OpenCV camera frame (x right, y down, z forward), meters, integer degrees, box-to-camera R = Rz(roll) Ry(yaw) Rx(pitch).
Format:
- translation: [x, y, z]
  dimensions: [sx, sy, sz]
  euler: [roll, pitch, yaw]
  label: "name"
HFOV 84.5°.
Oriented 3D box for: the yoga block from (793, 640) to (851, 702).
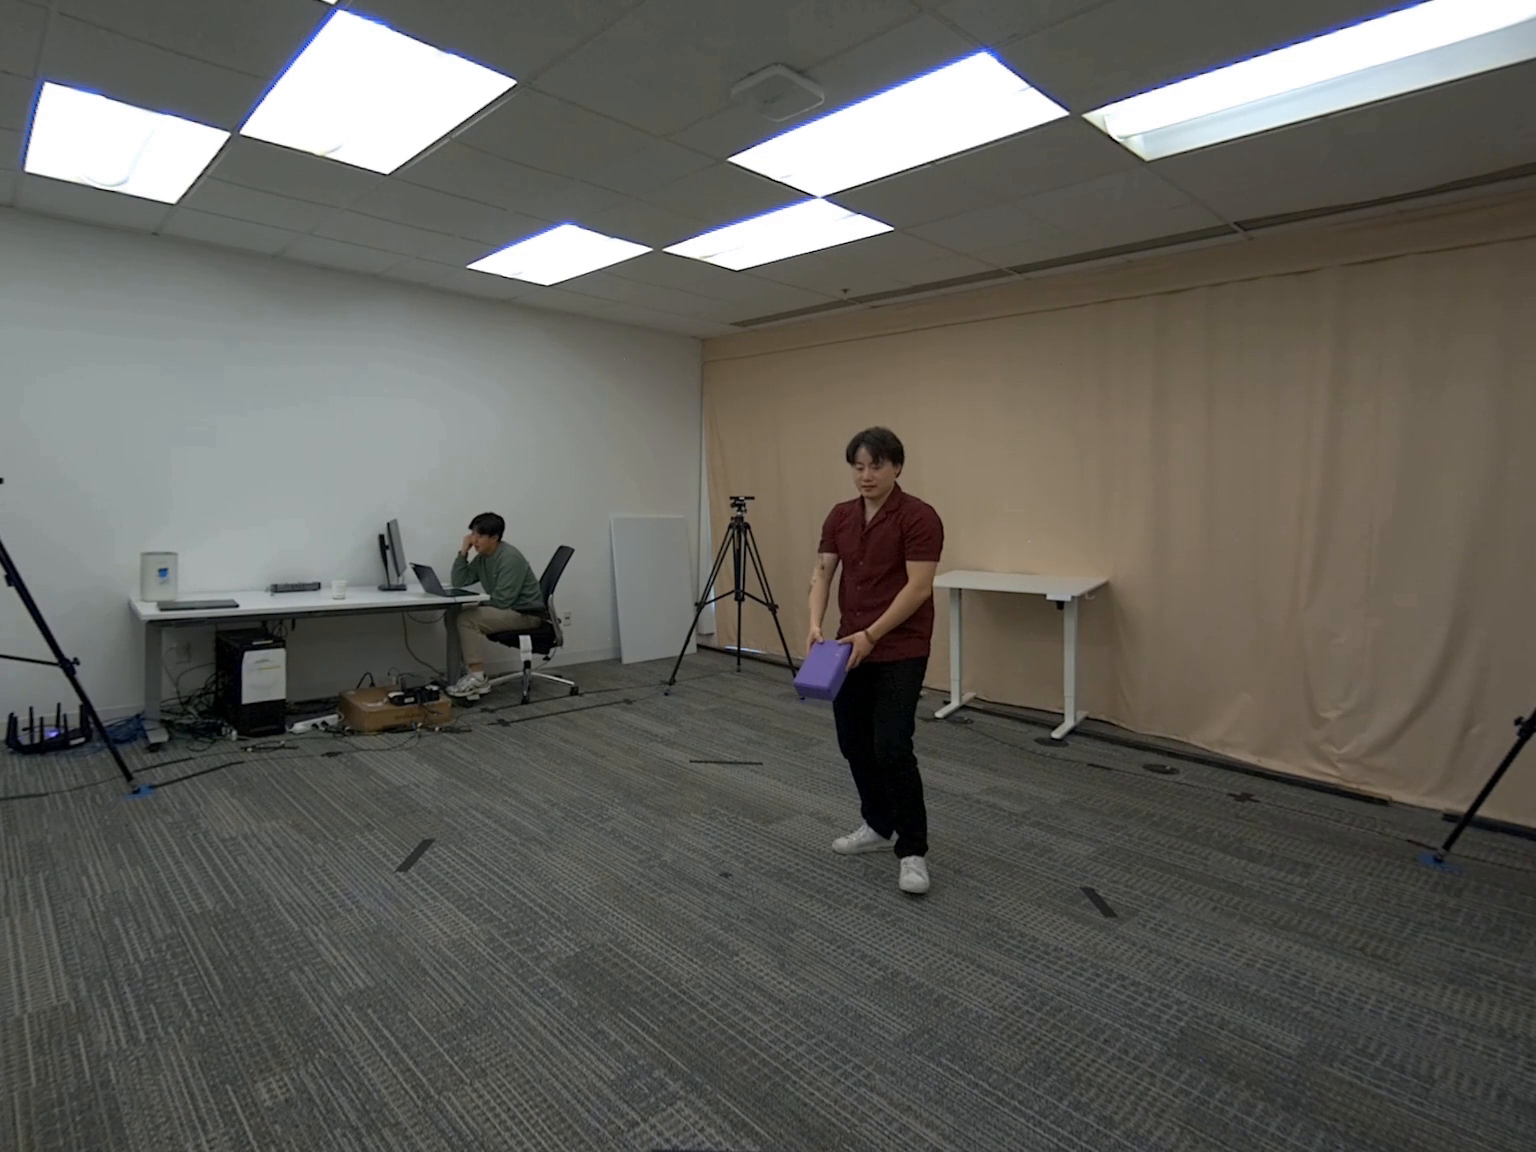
- translation: [0.206, 0.323, 3.003]
  dimensions: [0.152, 0.074, 0.230]
  euler: [1, 43, 36]
  label: "yoga block"
